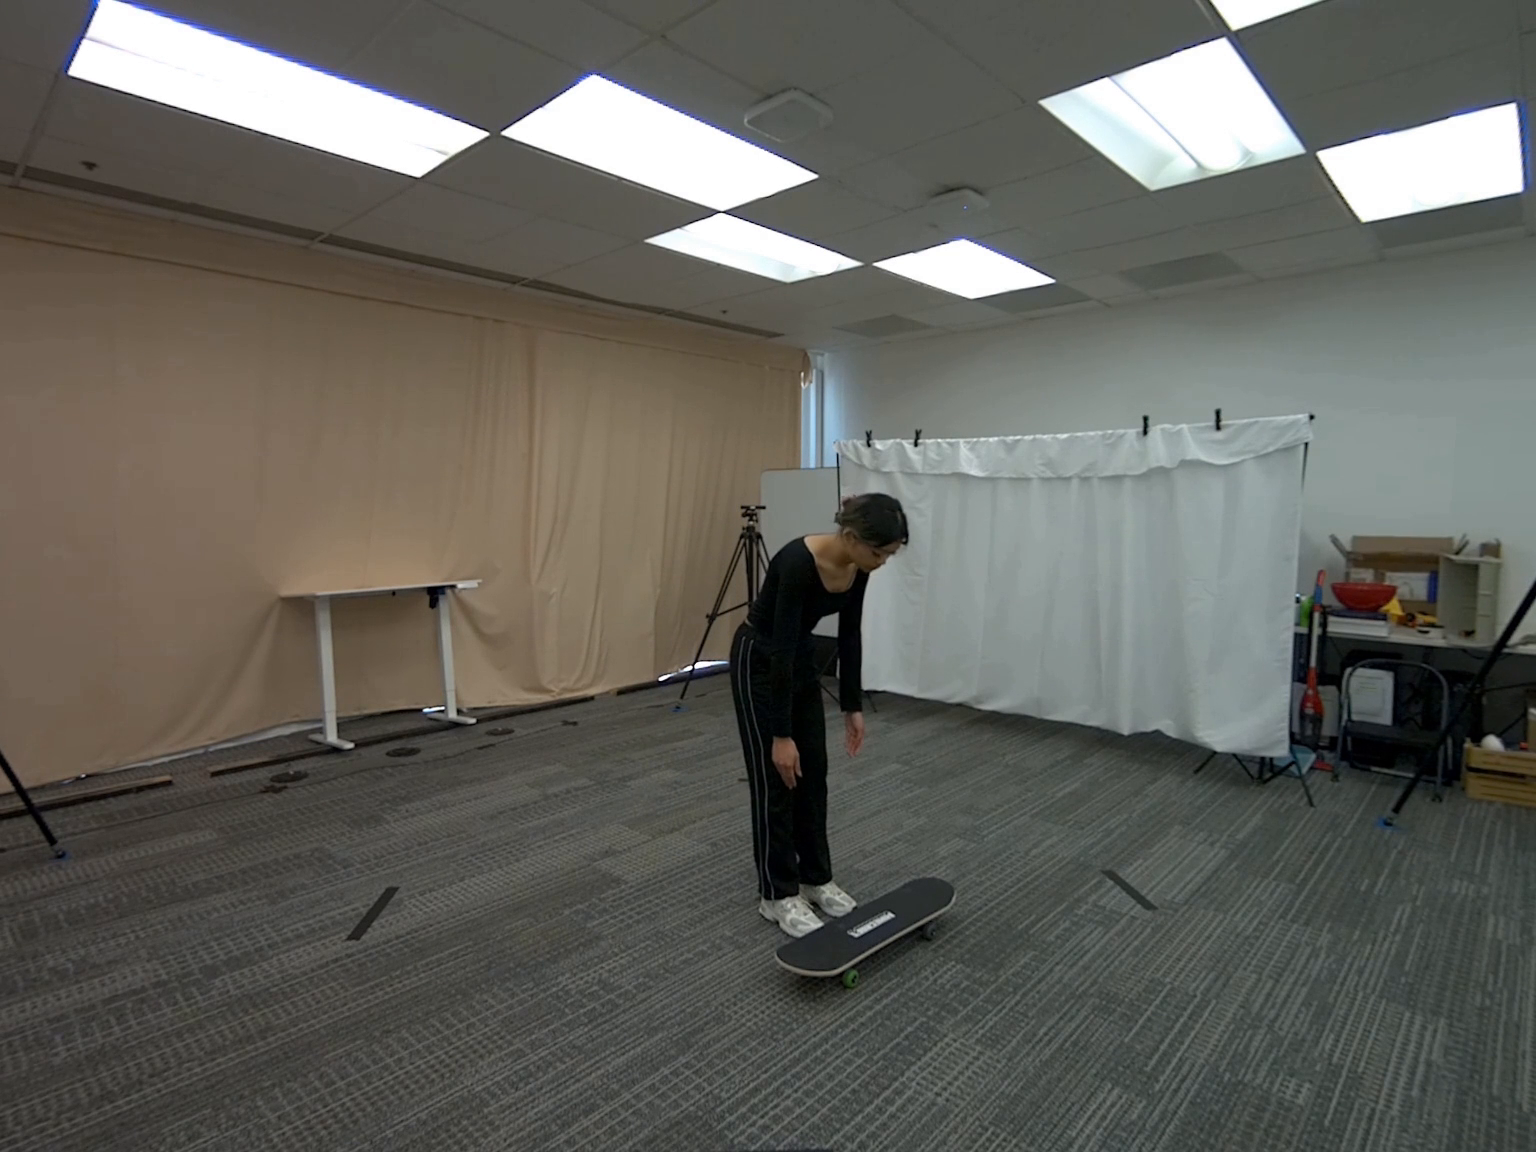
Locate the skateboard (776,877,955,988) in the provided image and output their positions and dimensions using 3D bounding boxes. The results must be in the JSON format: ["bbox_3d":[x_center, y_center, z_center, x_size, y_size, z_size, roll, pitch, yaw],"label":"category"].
[{"bbox_3d":[0.332,1.122,2.614,0.761,0.110,0.200,-5,7,-44],"label":"skateboard"}]
